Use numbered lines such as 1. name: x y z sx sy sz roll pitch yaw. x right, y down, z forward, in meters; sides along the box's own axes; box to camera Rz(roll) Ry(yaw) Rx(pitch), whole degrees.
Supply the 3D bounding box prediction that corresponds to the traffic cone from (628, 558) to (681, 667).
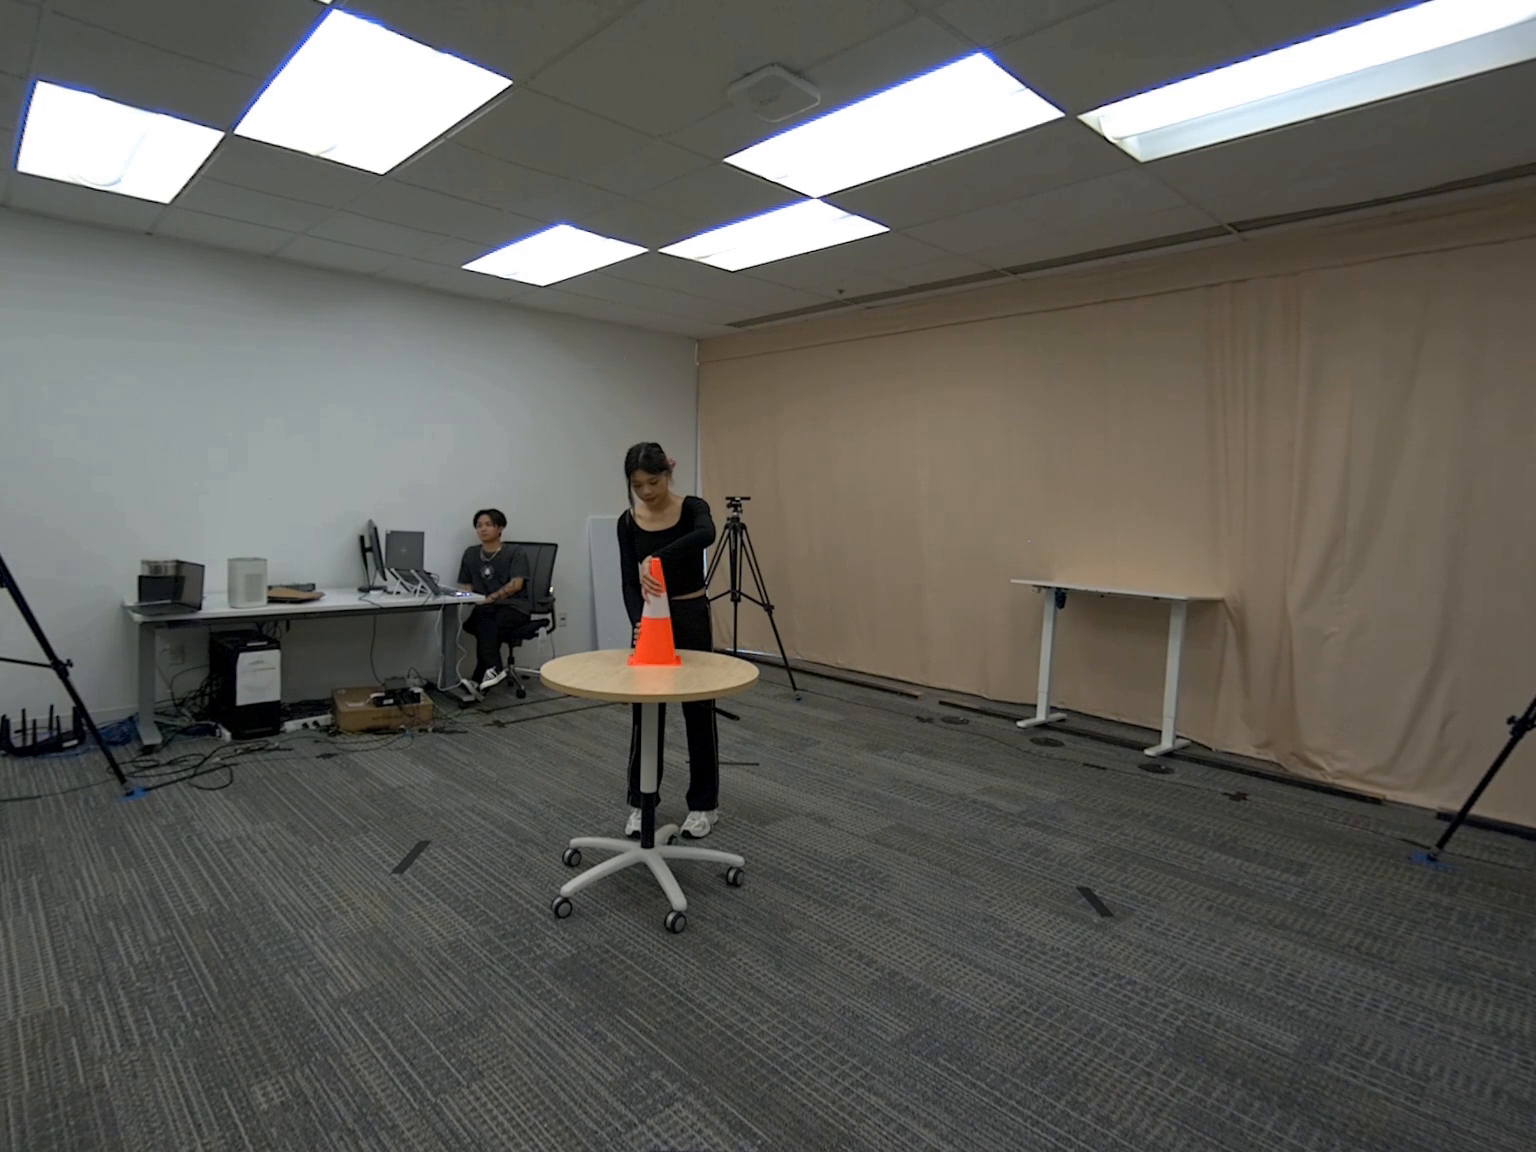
1. traffic cone: -0.427 0.126 3.112 0.203 0.383 0.205 2 3 -10
